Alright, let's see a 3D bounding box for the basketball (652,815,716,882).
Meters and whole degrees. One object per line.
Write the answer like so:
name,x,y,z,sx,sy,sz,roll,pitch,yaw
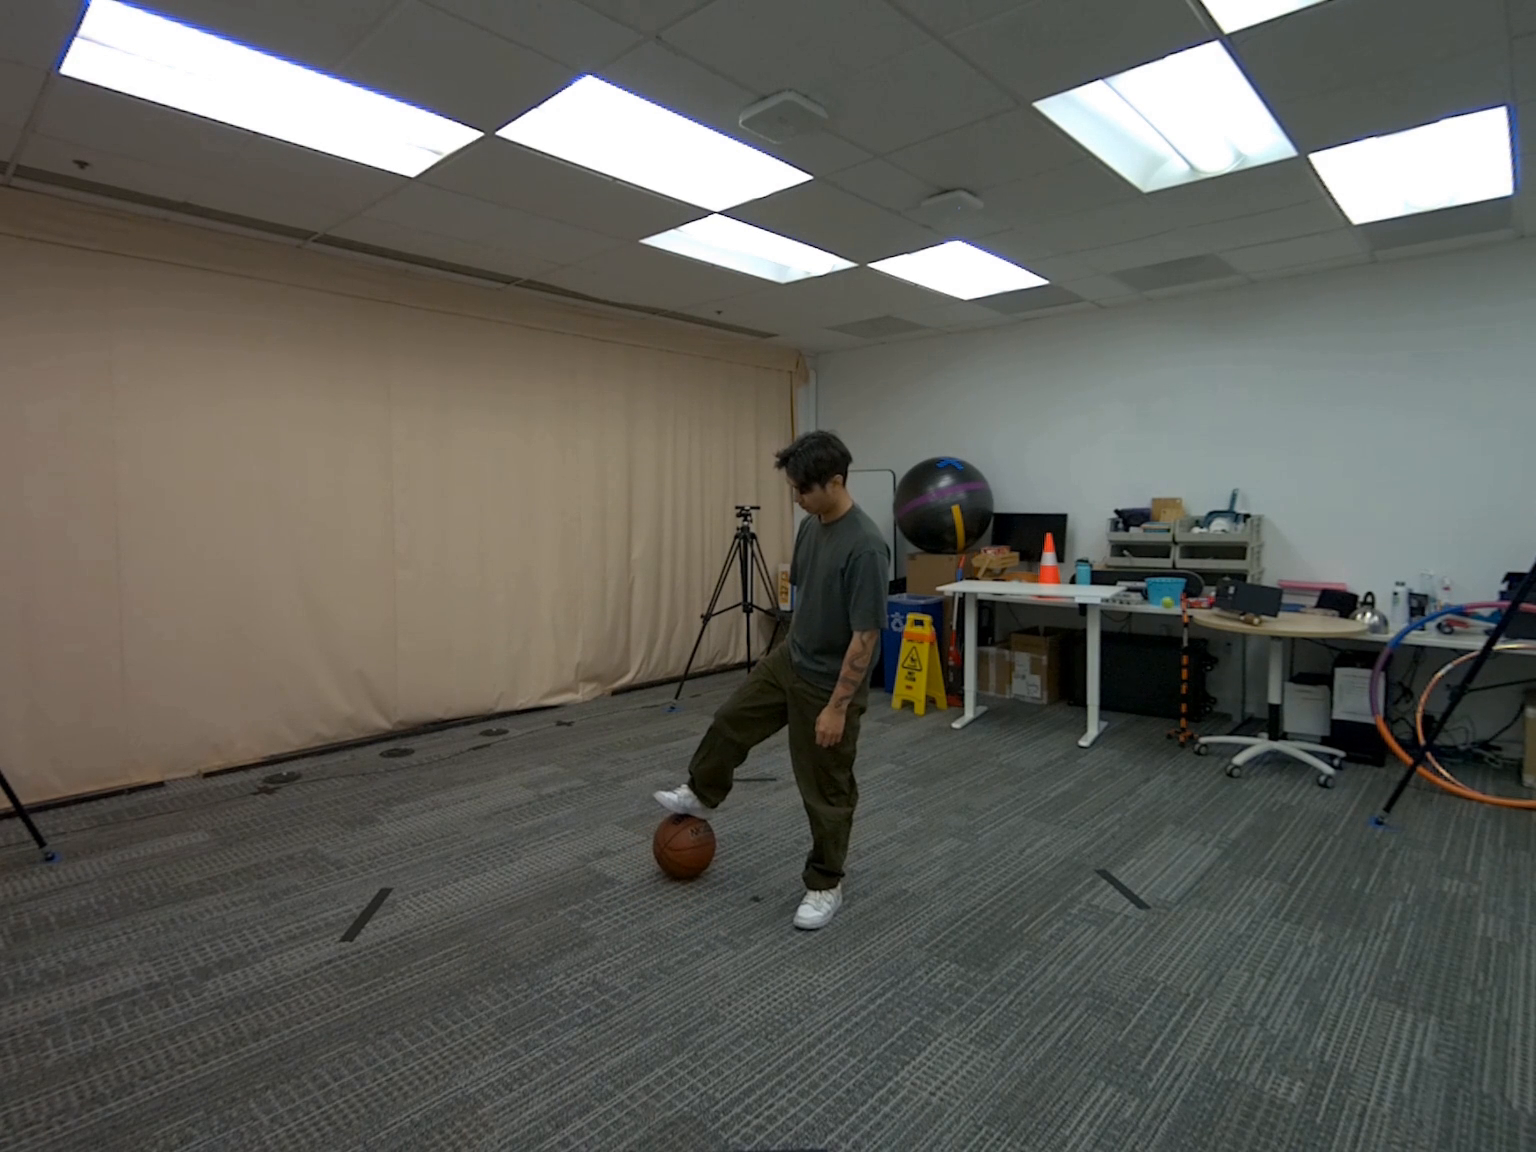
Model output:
basketball,-0.308,1.016,3.171,0.236,0.235,0.237,0,4,-2
